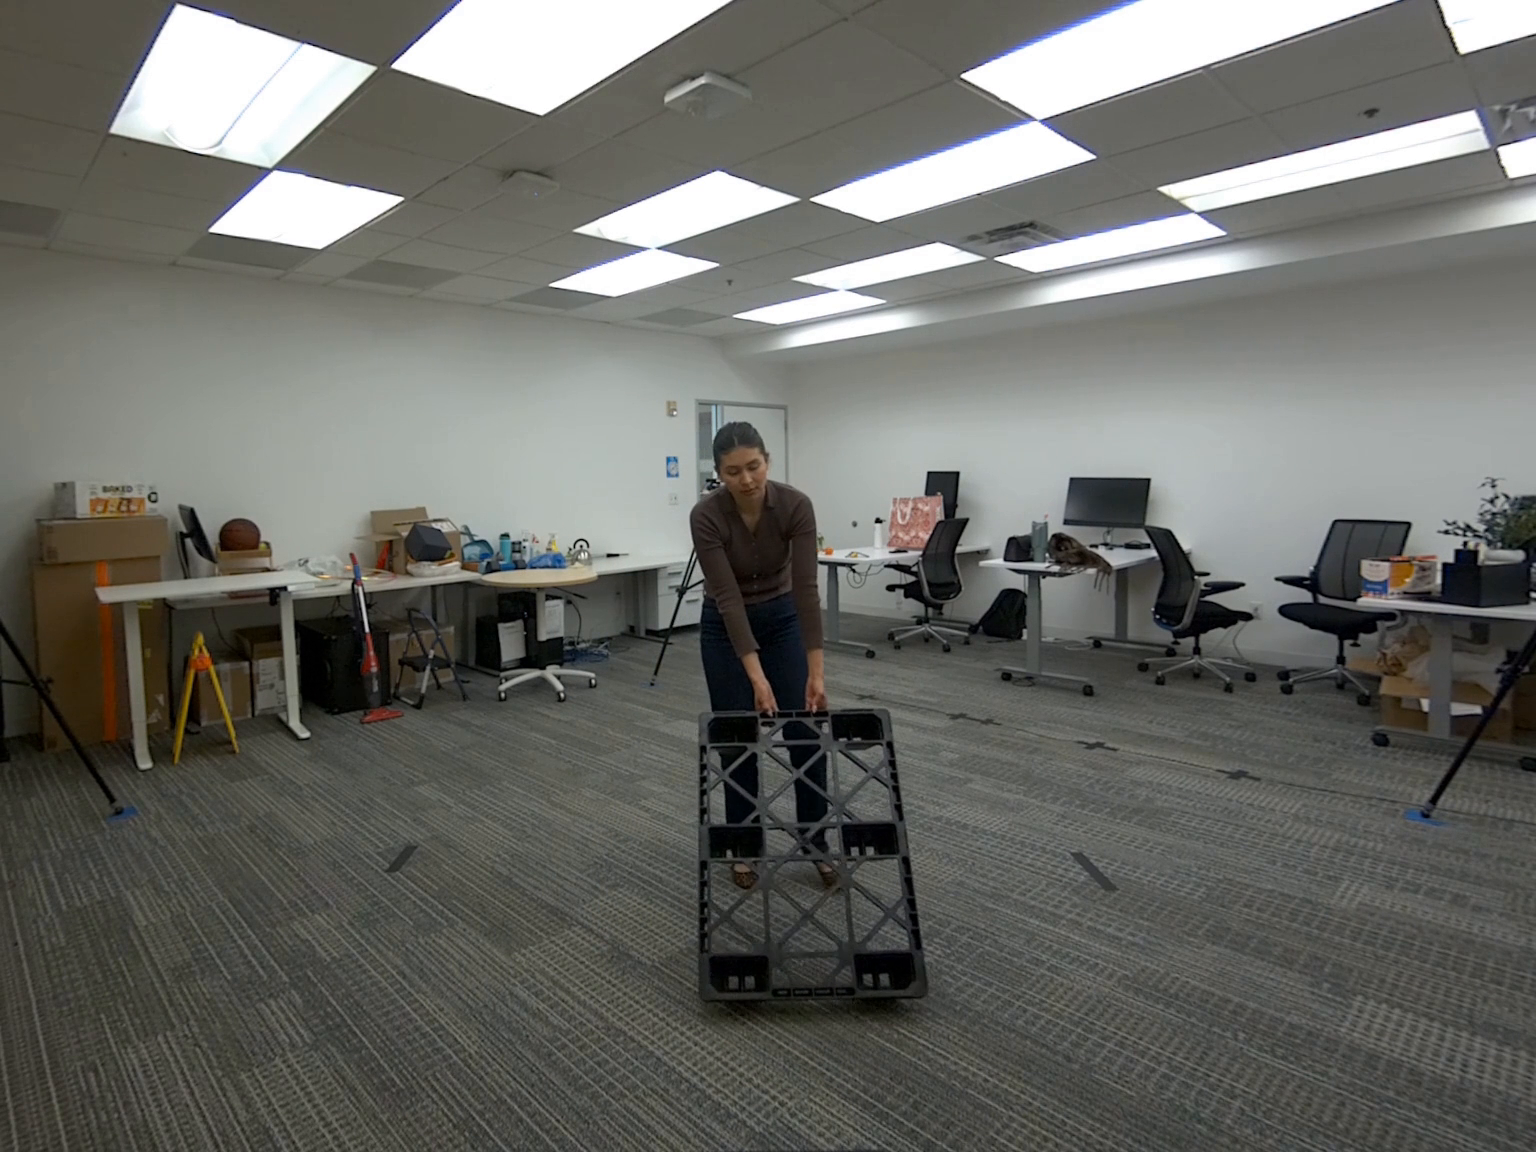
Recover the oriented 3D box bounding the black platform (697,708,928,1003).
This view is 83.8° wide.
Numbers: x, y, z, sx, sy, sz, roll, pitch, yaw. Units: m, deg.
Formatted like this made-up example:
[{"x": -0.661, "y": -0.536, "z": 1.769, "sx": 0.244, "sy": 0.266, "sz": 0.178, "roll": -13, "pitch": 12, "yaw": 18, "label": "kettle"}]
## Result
[{"x": 0.115, "y": 0.790, "z": 2.481, "sx": 0.605, "sy": 0.826, "sz": 0.139, "roll": -1, "pitch": -34, "yaw": 0, "label": "black platform"}]
